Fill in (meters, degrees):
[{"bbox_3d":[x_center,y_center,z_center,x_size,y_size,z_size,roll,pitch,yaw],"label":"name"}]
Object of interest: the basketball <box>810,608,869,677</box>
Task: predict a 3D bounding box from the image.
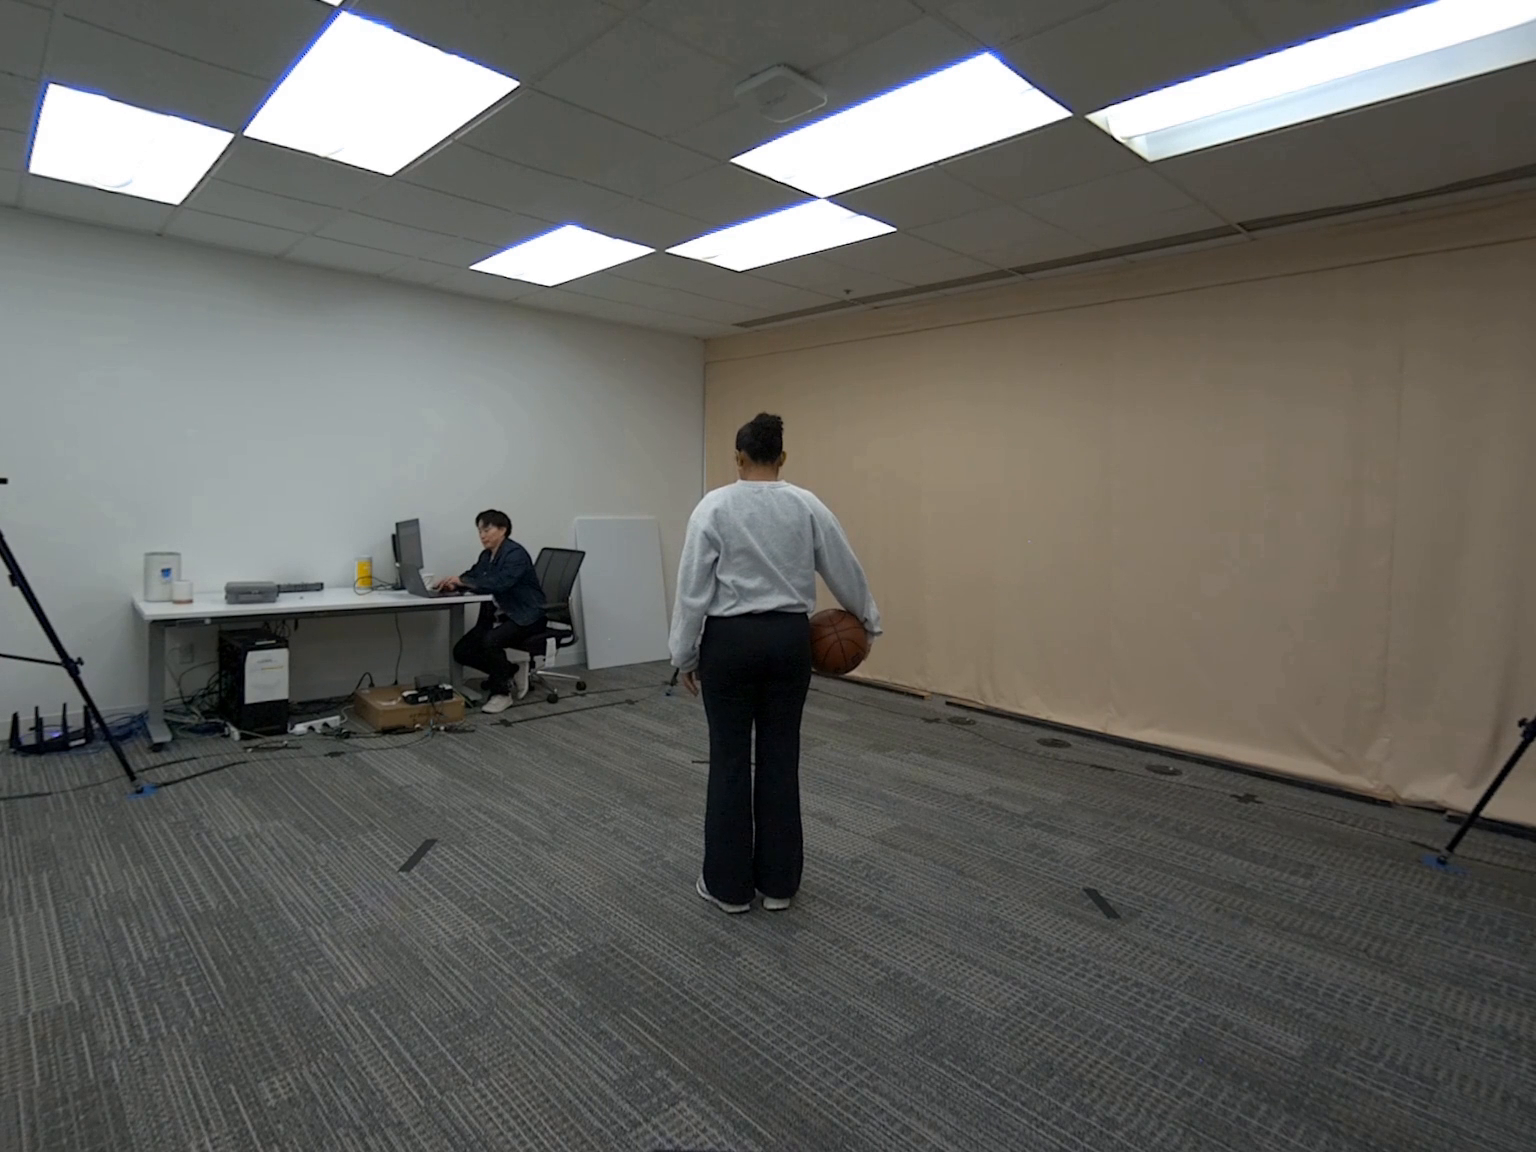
[{"bbox_3d":[0.230,0.234,2.997,0.236,0.235,0.237,1,4,-1],"label":"basketball"}]
